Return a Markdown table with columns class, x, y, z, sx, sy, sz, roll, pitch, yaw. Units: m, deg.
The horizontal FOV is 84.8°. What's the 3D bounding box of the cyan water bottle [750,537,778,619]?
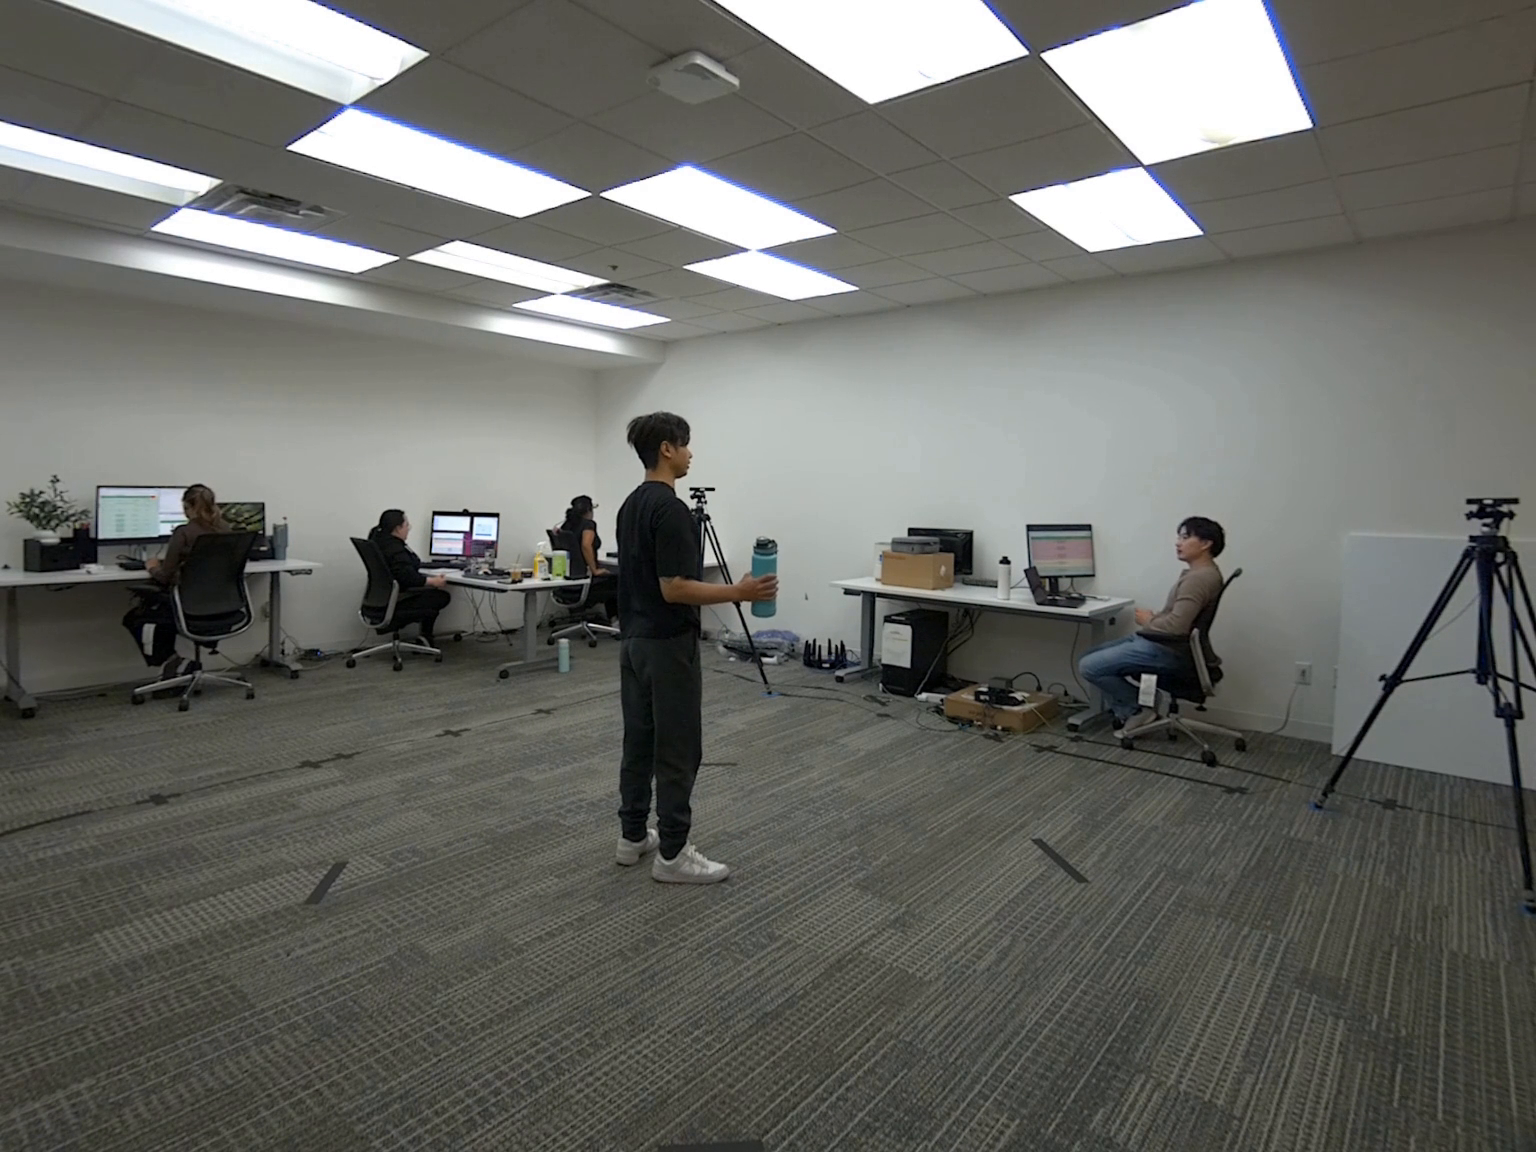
| class | x | y | z | sx | sy | sz | roll | pitch | yaw |
| --- | --- | --- | --- | --- | --- | --- | --- | --- | --- |
| cyan water bottle | -0.027 | -0.002 | 2.990 | 0.092 | 0.280 | 0.093 | 2 | 11 | -2 |
